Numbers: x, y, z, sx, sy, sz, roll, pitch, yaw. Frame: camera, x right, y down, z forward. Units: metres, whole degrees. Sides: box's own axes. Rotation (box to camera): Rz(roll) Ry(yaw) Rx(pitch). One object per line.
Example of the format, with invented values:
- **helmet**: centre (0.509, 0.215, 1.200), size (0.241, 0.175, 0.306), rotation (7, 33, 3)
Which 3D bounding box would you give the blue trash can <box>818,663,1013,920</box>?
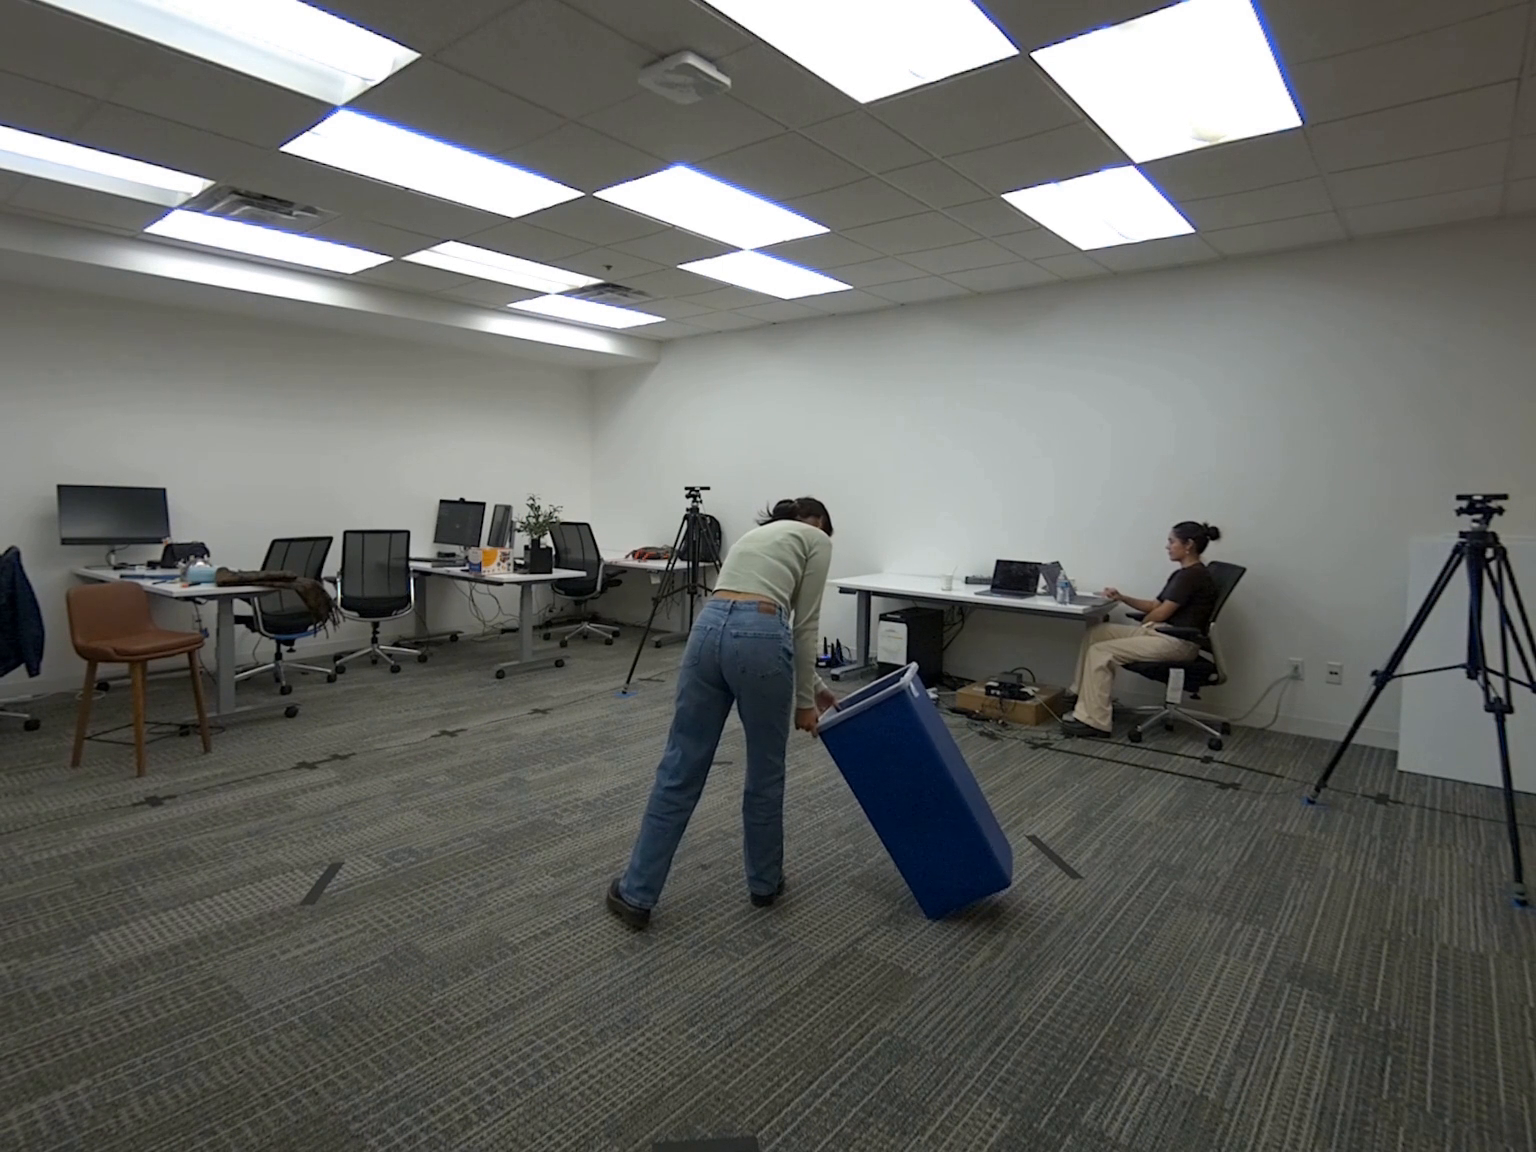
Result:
- **blue trash can**: centre (0.501, 0.720, 2.902), size (0.376, 0.721, 0.372), rotation (-31, -7, 16)
